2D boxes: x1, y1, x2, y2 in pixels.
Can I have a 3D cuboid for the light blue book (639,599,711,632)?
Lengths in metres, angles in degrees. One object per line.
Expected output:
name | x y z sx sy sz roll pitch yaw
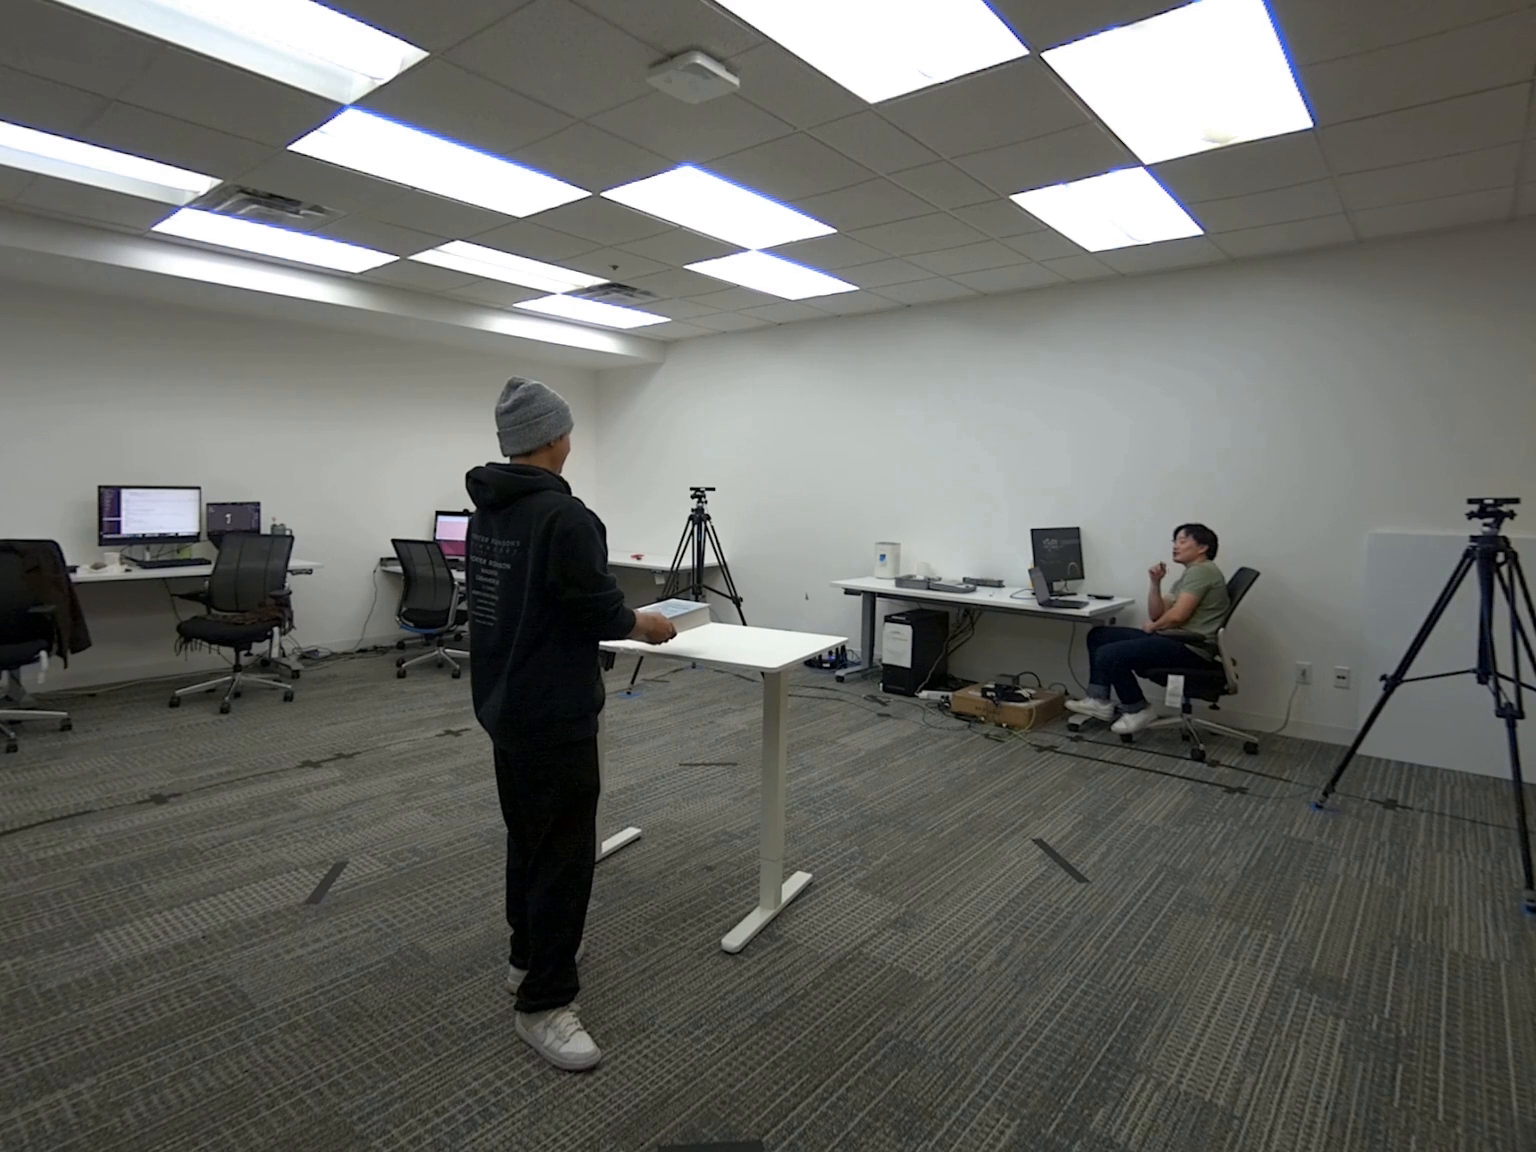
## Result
light blue book | -0.337 0.137 2.563 0.198 0.058 0.255 5 15 44
